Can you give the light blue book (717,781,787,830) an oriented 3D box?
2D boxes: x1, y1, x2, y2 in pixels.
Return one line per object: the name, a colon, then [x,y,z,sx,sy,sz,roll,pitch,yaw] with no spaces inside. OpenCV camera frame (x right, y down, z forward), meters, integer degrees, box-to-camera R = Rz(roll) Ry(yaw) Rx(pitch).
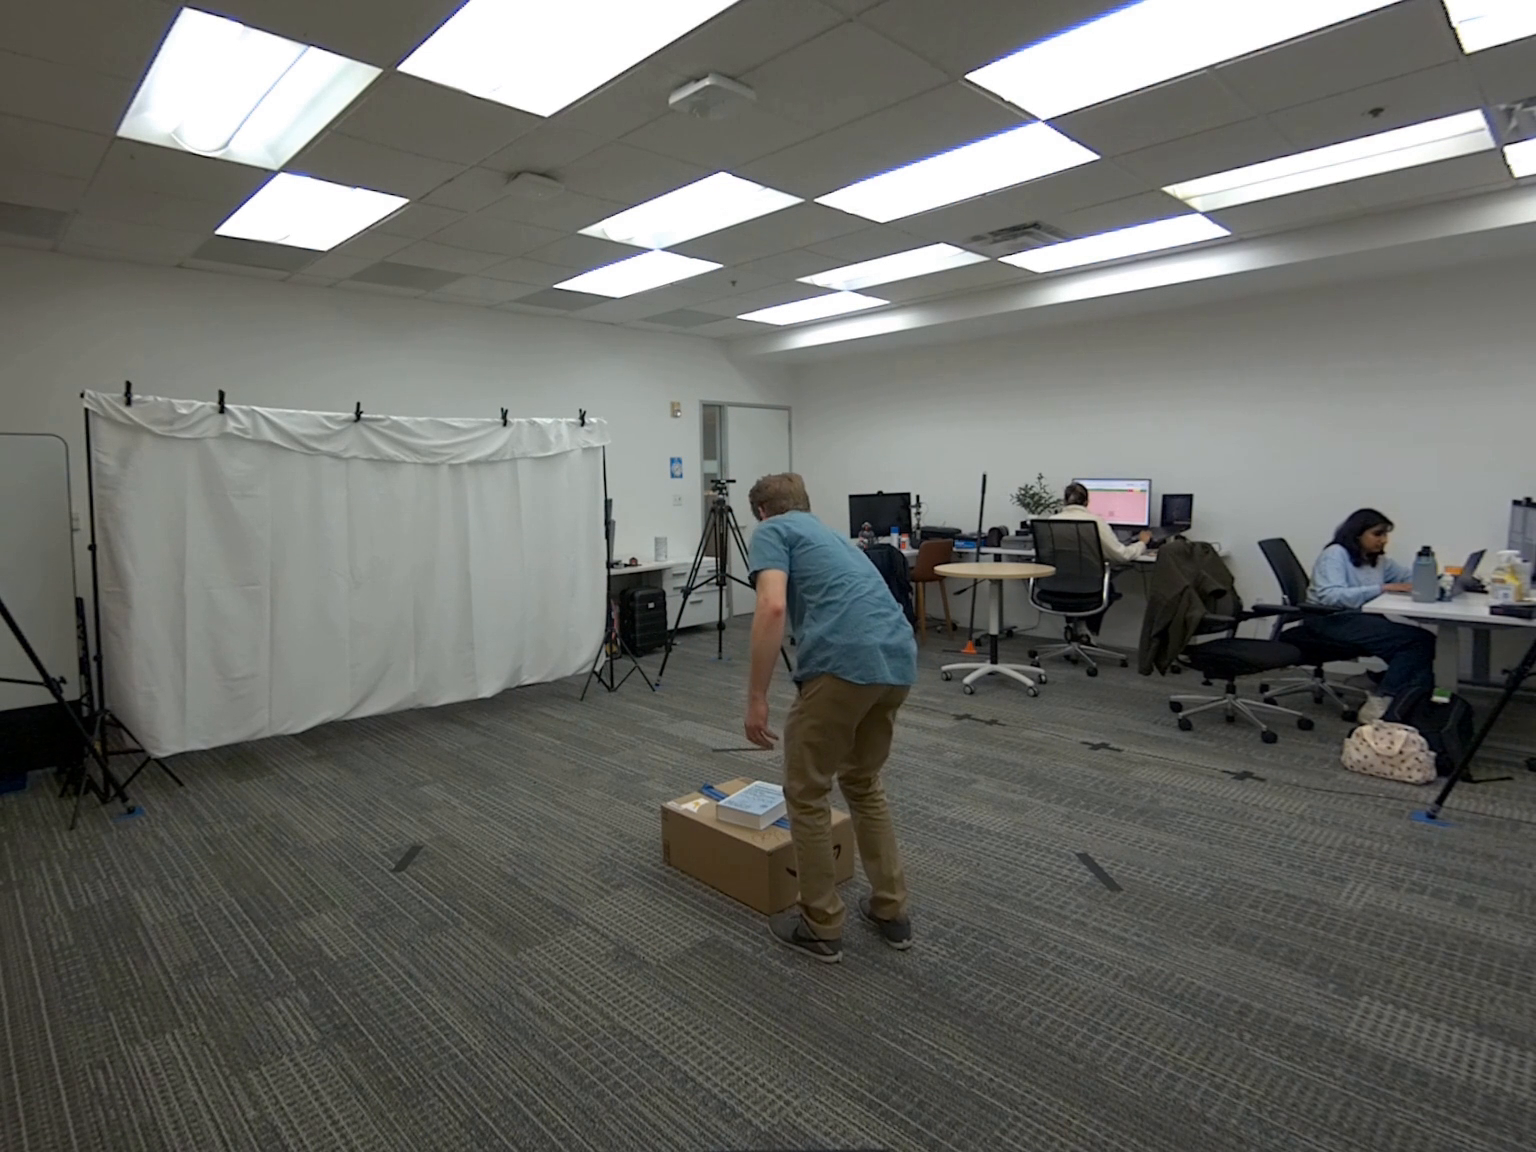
light blue book: [-0.029,0.811,3.050,0.197,0.059,0.255,3,8,33]
